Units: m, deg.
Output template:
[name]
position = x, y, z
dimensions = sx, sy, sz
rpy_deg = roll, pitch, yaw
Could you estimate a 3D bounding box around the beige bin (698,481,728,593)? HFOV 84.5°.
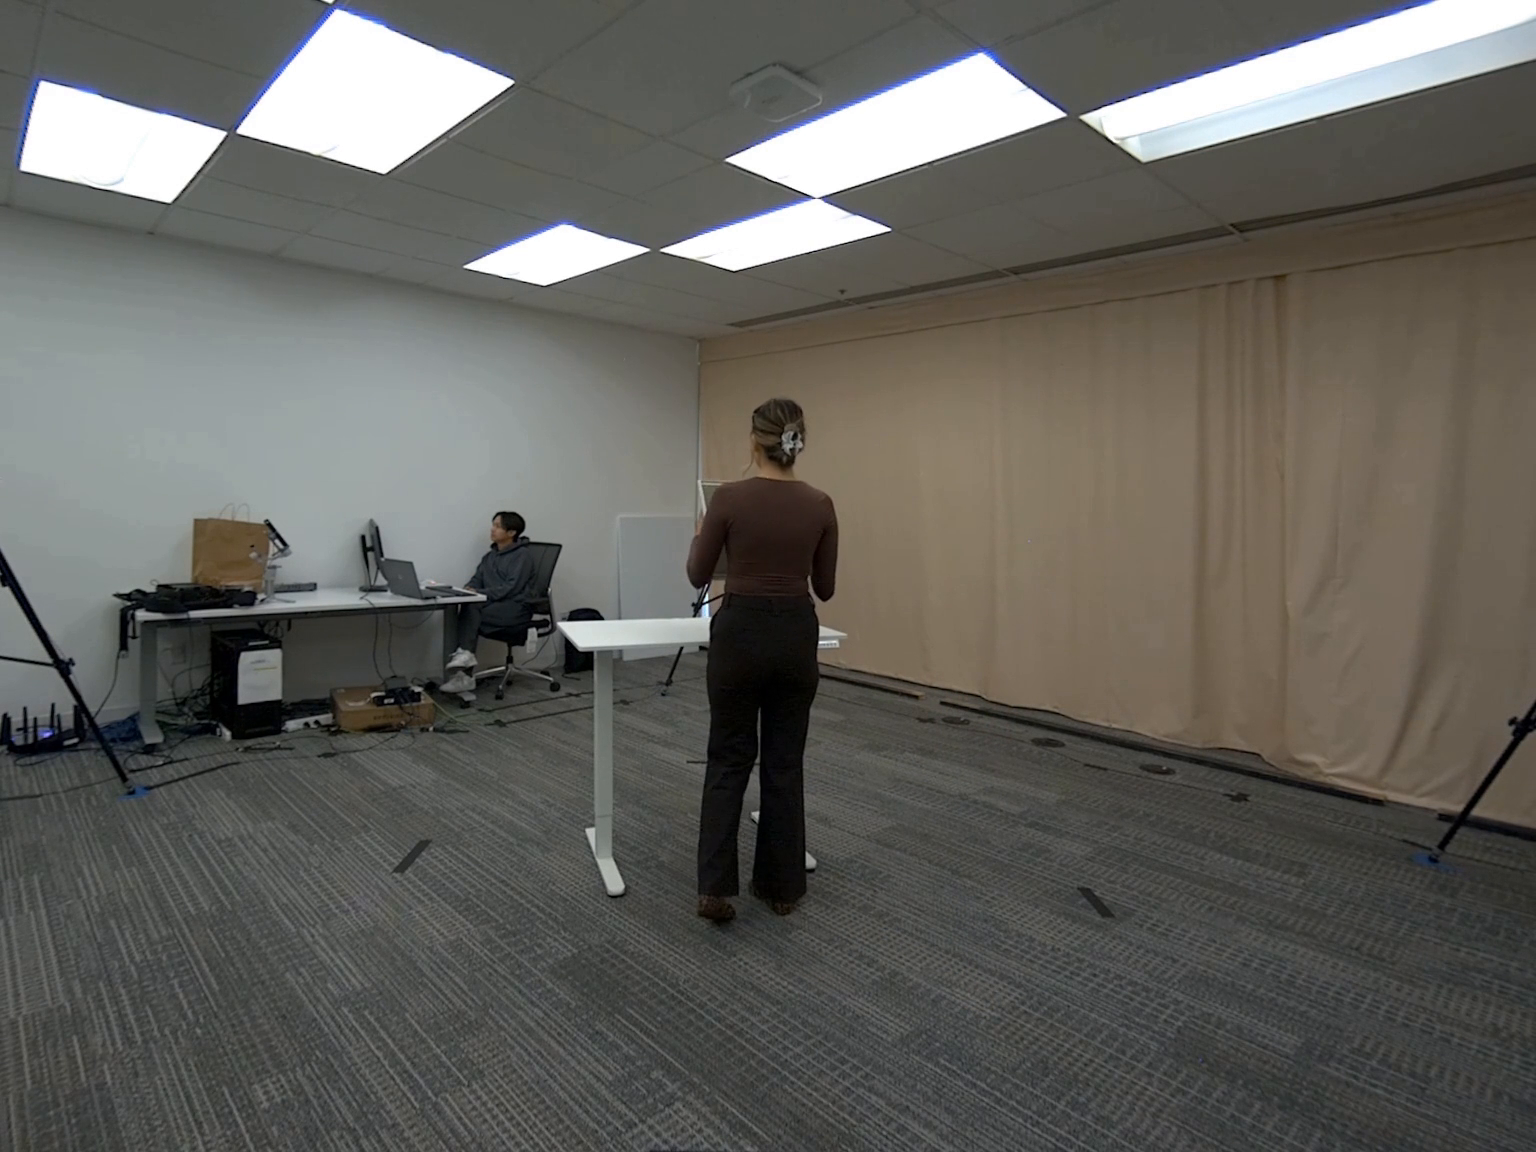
[beige bin]
position = -0.063, -0.169, 3.139
dimensions = 0.375, 0.185, 0.433
rpy_deg = 0, 34, -9
